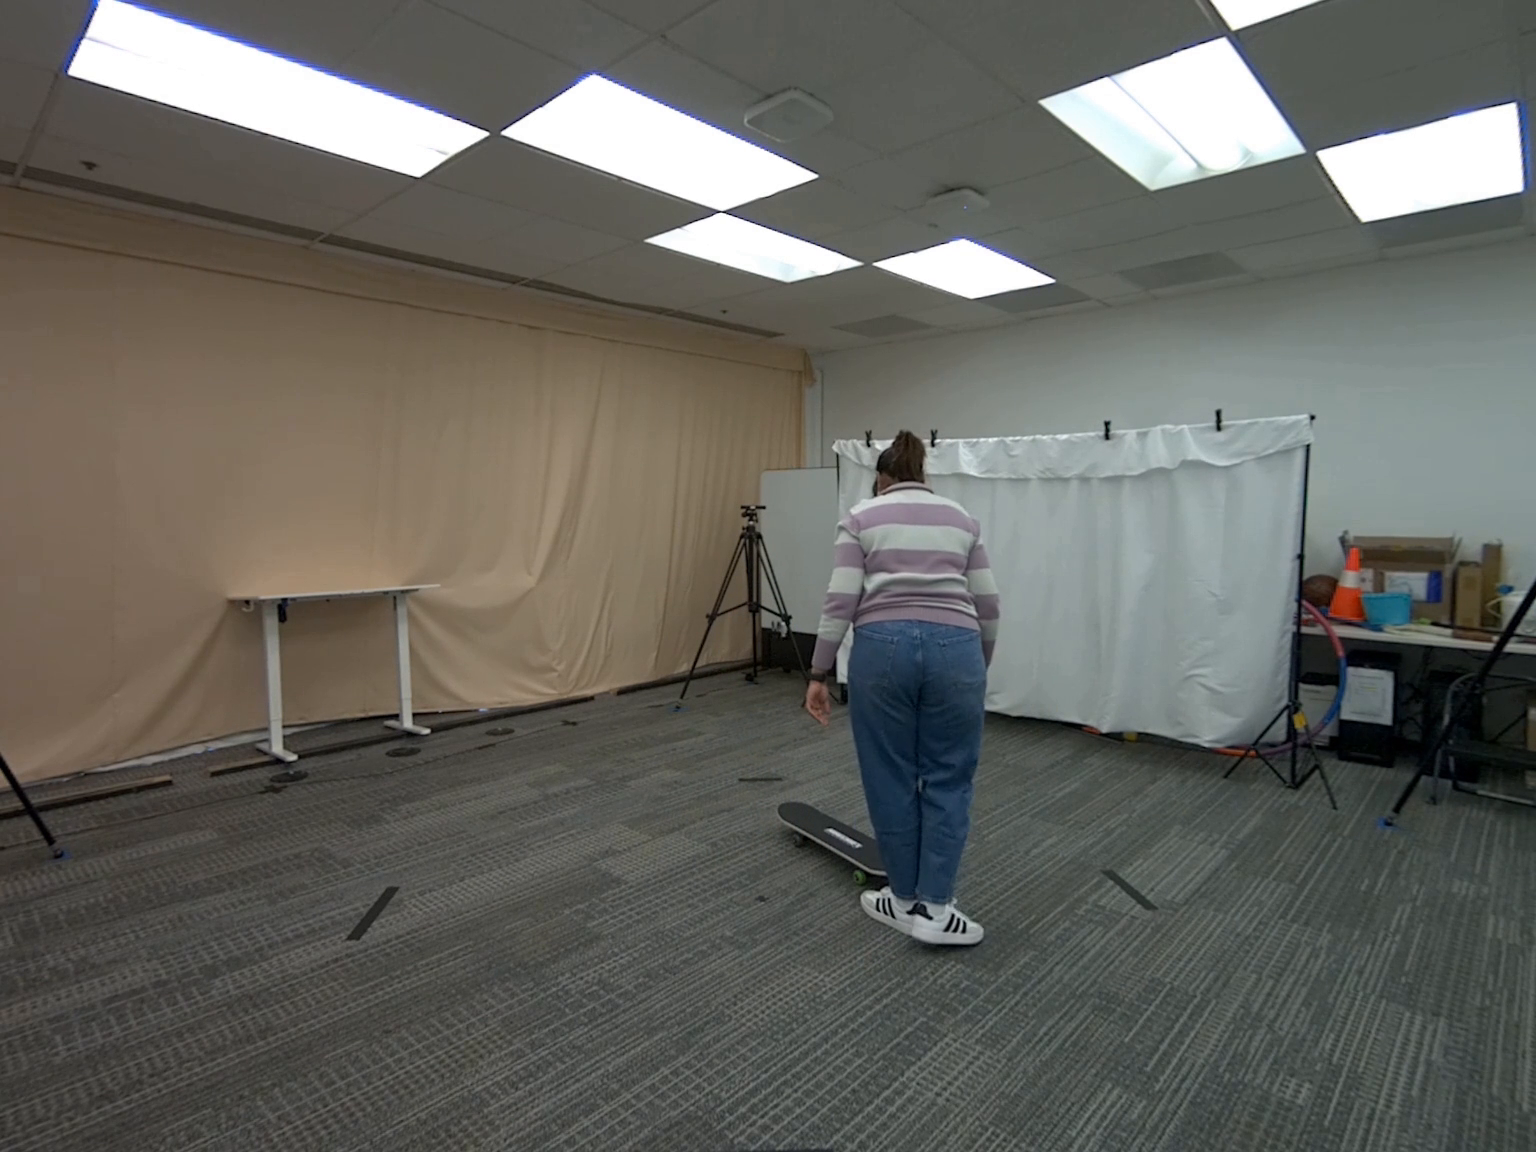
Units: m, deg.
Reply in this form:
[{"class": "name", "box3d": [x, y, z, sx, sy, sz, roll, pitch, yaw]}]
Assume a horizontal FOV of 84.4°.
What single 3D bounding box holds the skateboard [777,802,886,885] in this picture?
[{"class": "skateboard", "box3d": [0.298, 1.055, 3.304, 0.188, 0.110, 0.809, -3, 5, -32]}]
